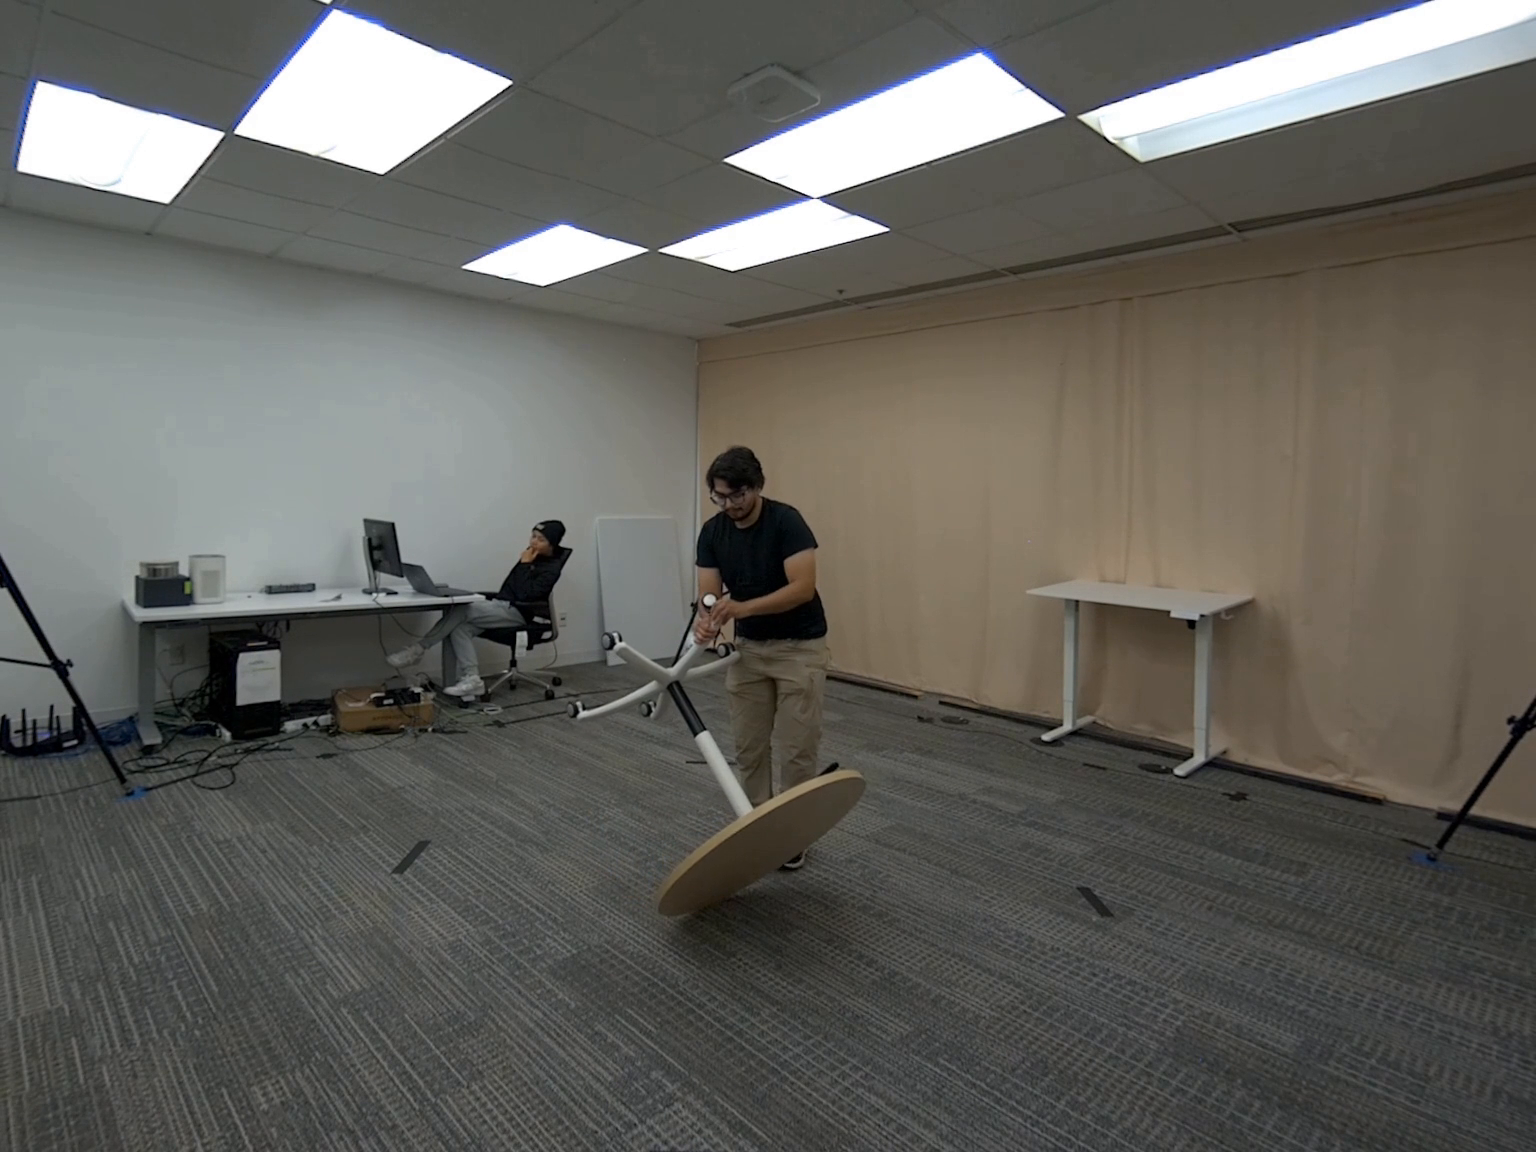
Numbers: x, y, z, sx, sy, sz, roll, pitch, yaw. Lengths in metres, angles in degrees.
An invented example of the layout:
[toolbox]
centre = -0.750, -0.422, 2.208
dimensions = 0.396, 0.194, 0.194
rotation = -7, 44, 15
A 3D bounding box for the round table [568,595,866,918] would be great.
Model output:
[round table]
centre = -0.220, 0.578, 2.865
dimensions = 0.767, 0.781, 0.808
rotation = -3, 47, -45
